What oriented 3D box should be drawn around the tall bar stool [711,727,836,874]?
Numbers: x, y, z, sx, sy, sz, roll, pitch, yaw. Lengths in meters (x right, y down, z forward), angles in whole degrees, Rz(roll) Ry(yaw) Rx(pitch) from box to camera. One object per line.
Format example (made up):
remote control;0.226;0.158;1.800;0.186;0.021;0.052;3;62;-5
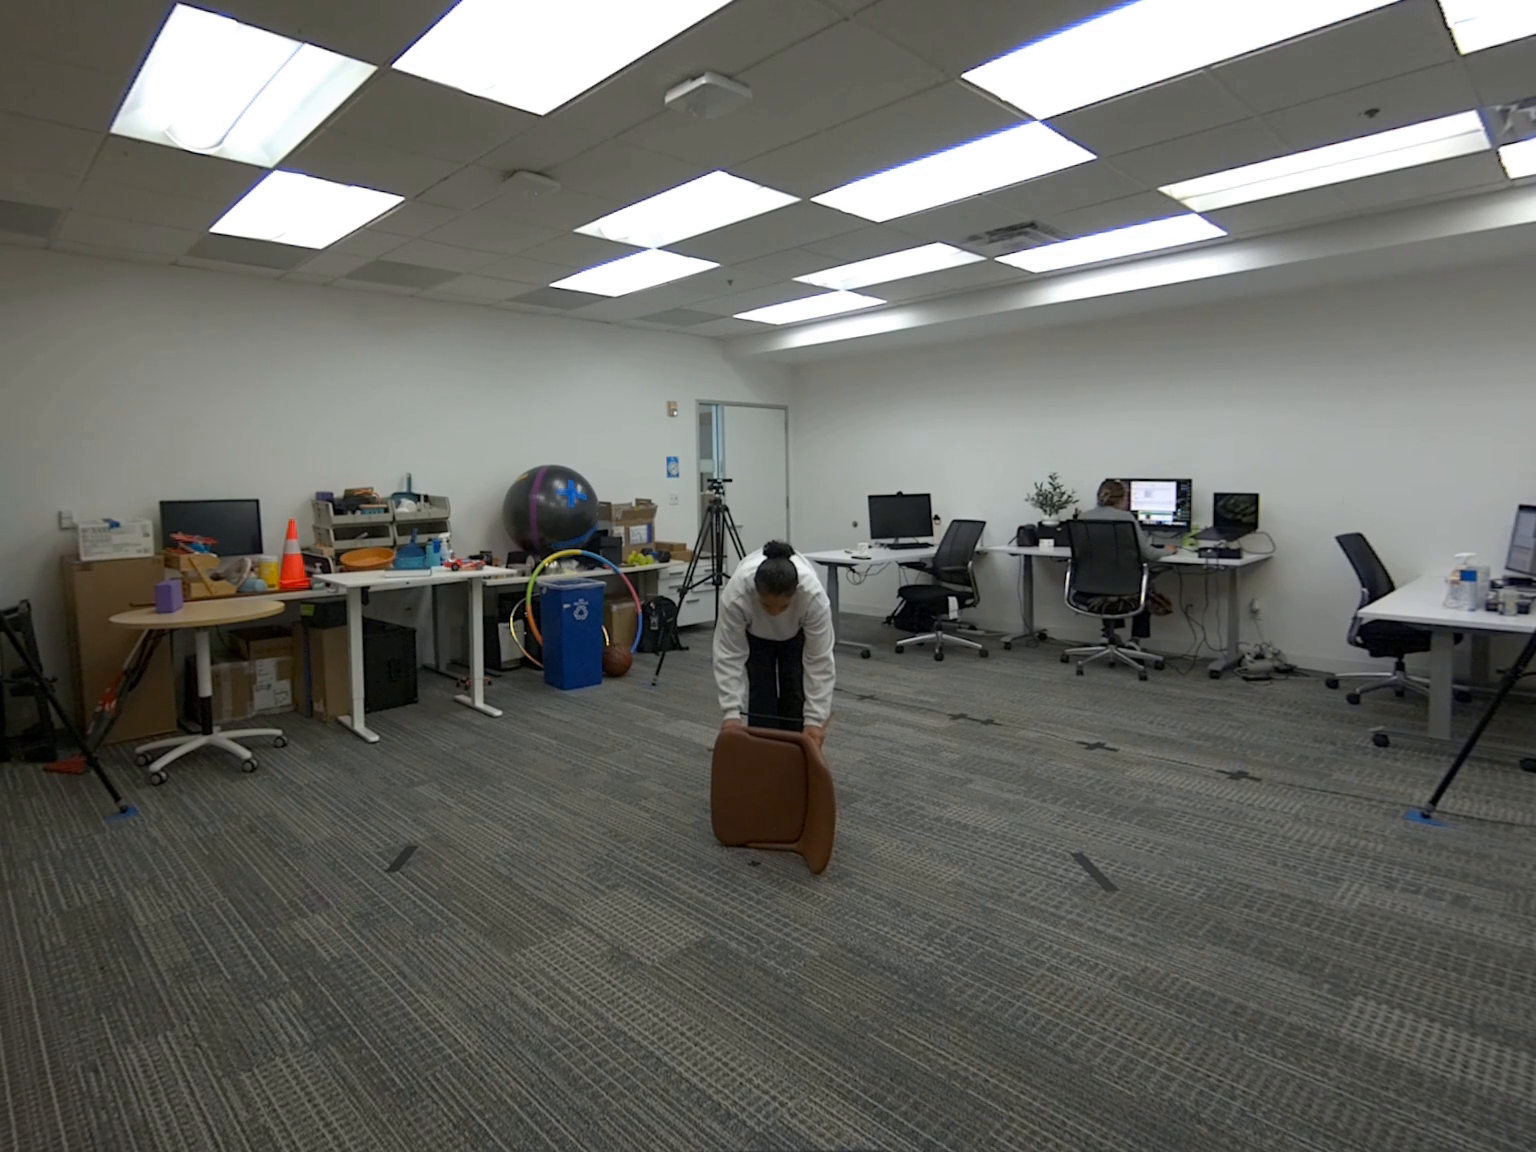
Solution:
tall bar stool;0.020;0.801;3.379;0.470;0.455;0.888;3;5;4
